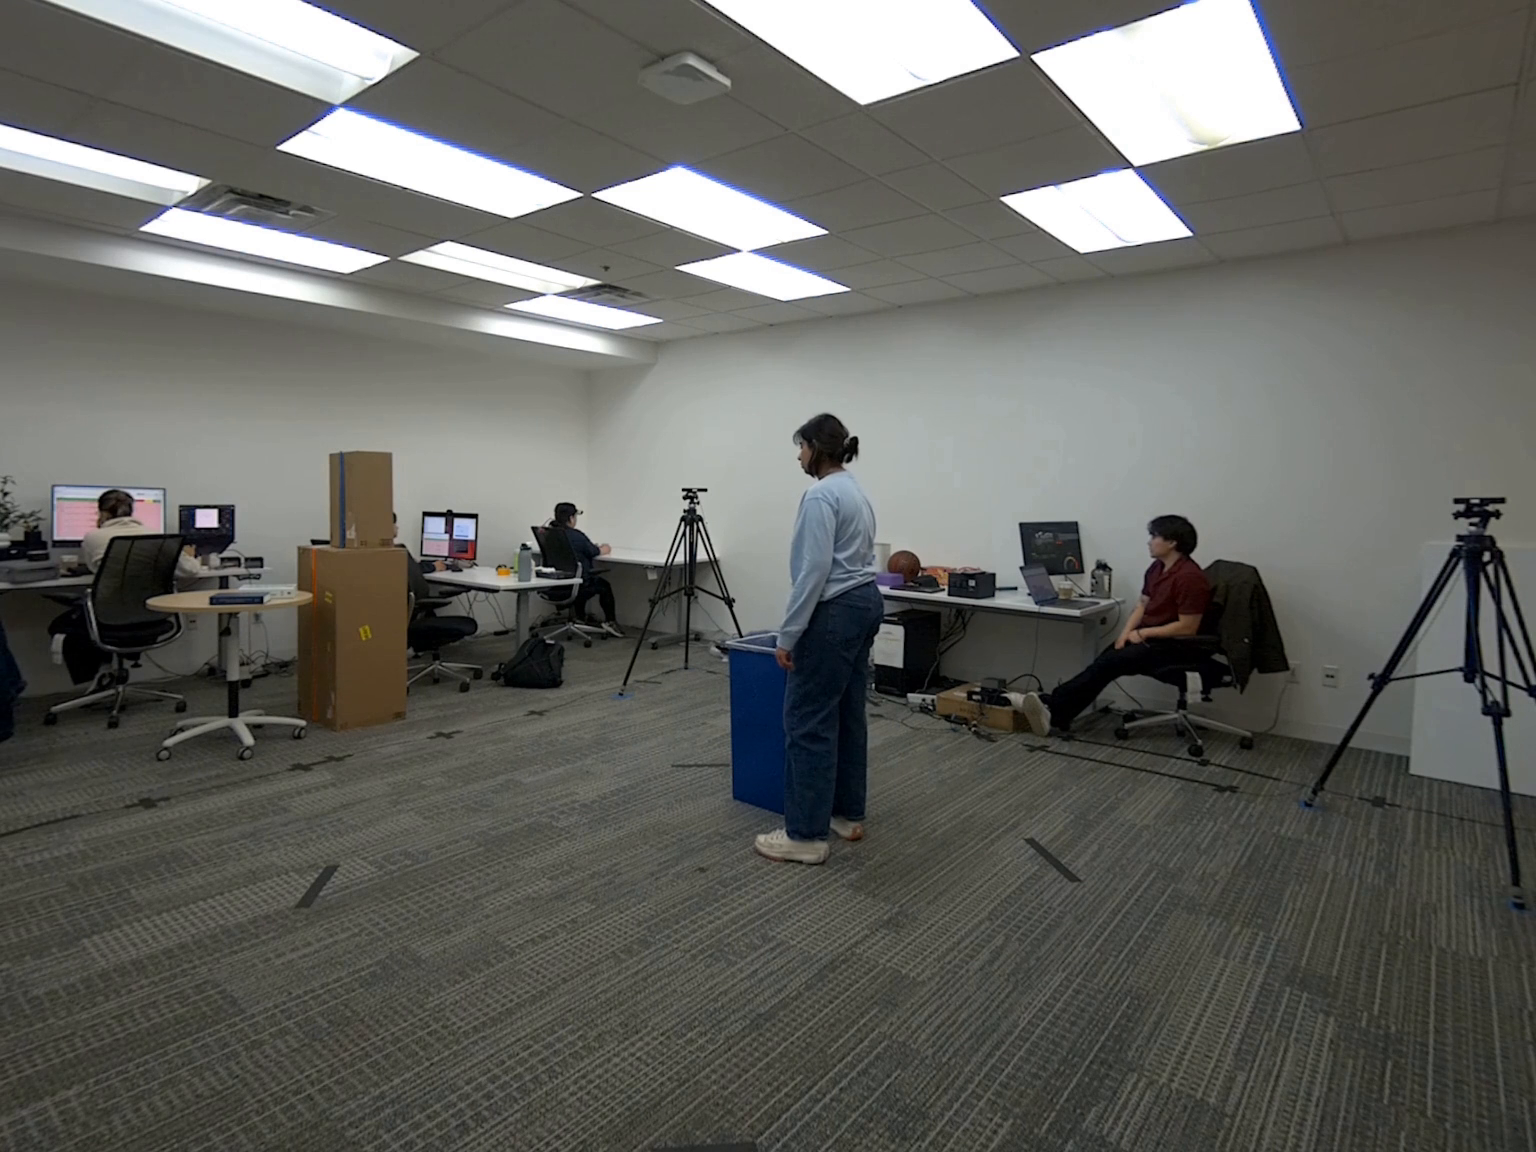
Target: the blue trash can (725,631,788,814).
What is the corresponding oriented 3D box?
[{"bbox_3d":[0.030,0.645,3.843,0.386,0.712,0.366,3,3,39],"label":"blue trash can"}]
